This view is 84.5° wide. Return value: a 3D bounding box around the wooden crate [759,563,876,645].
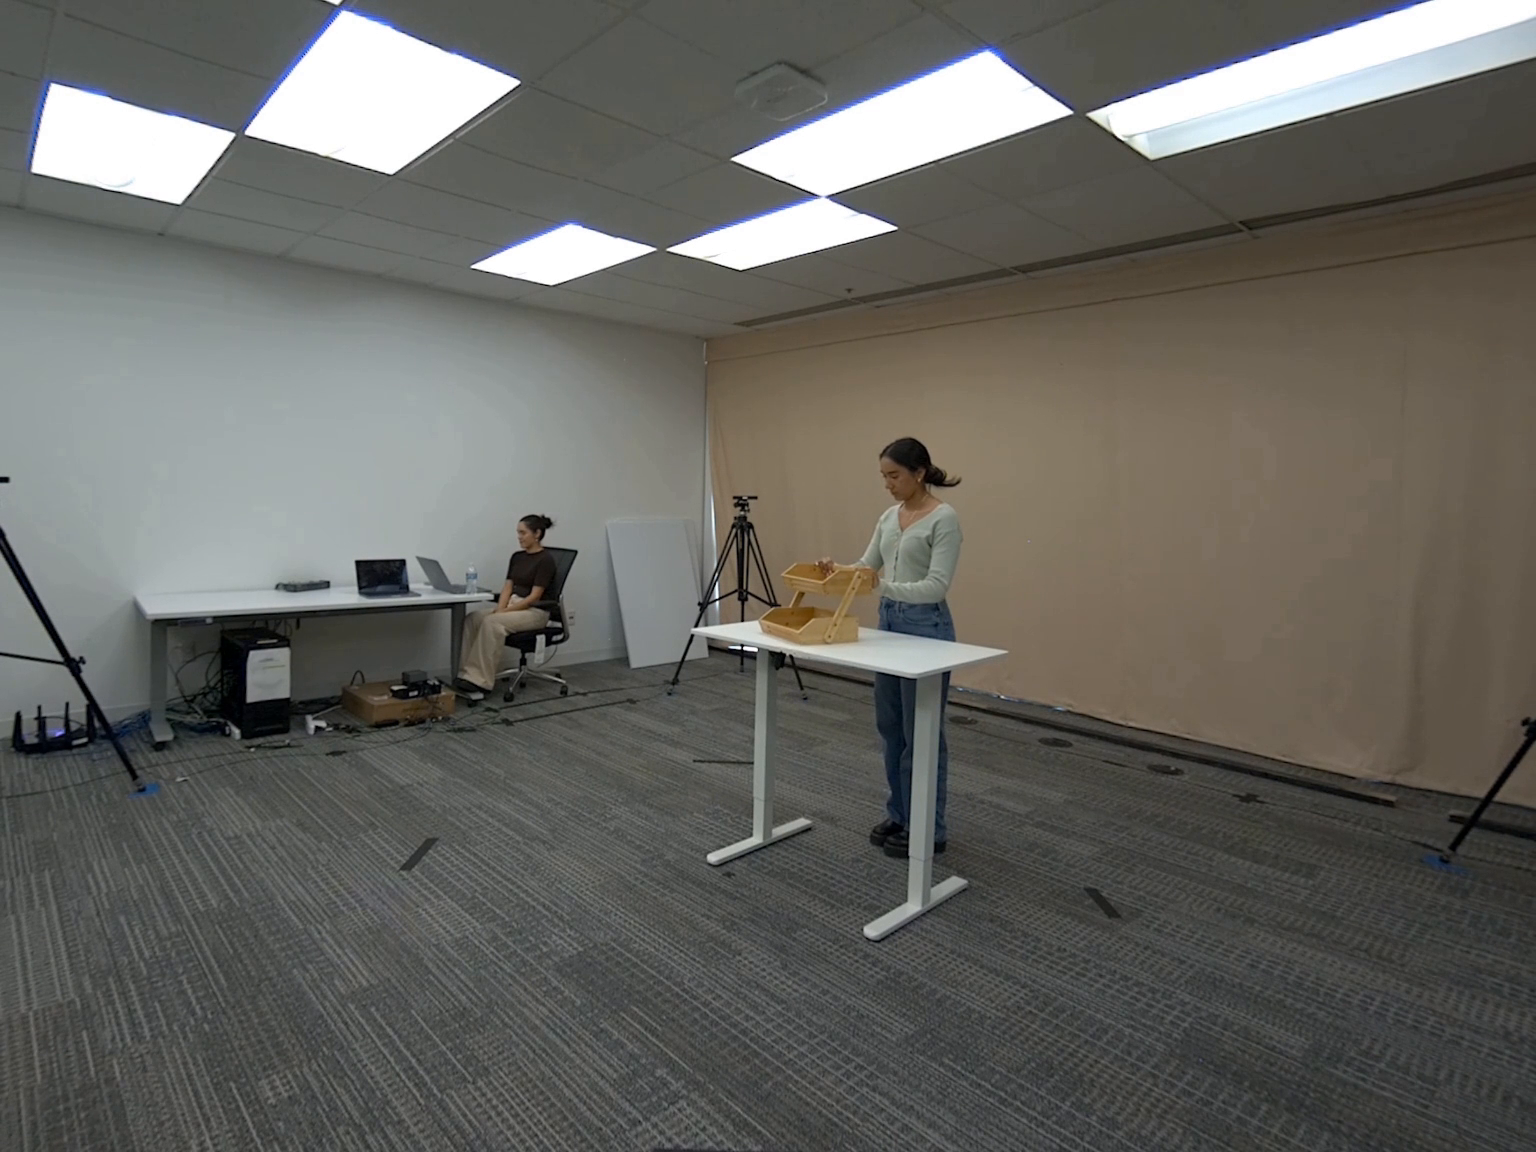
[{"bbox_3d":[0.164,0.095,3.111,0.296,0.272,0.332,0,6,-28],"label":"wooden crate"}]
